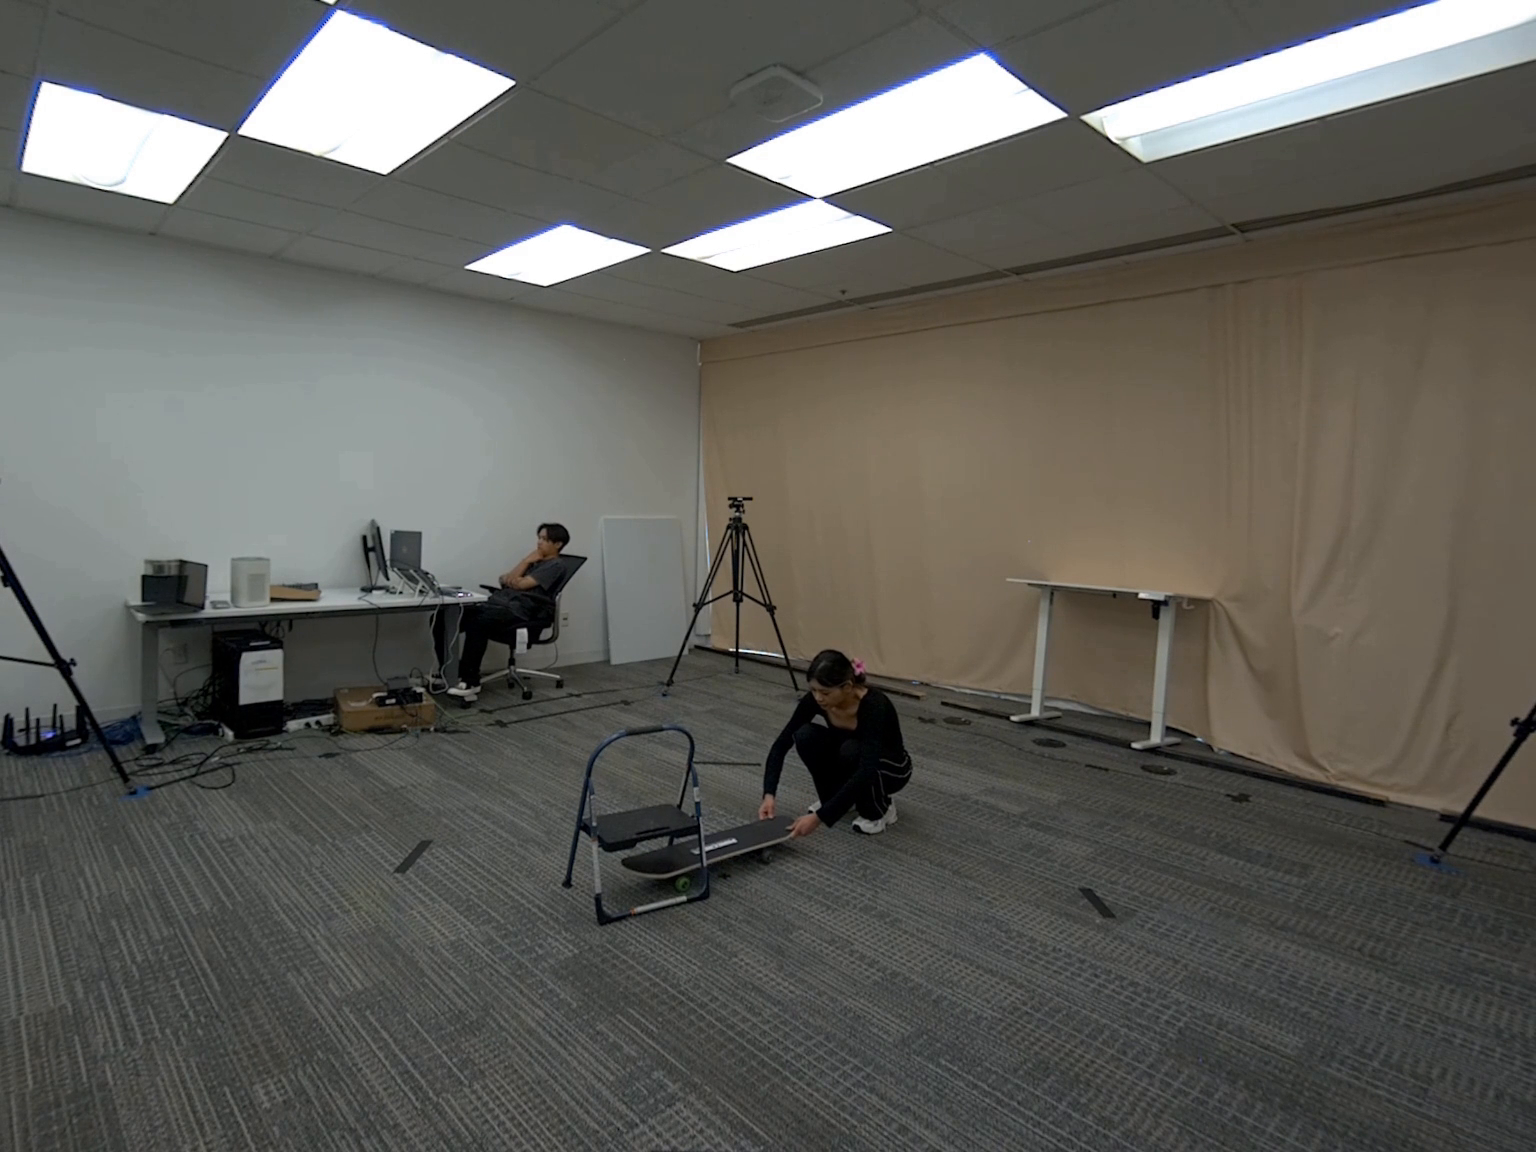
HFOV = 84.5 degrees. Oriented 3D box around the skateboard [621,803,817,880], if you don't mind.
[{"bbox_3d":[-0.205,1.038,3.156,0.767,0.110,0.198,-2,6,-39],"label":"skateboard"}]
